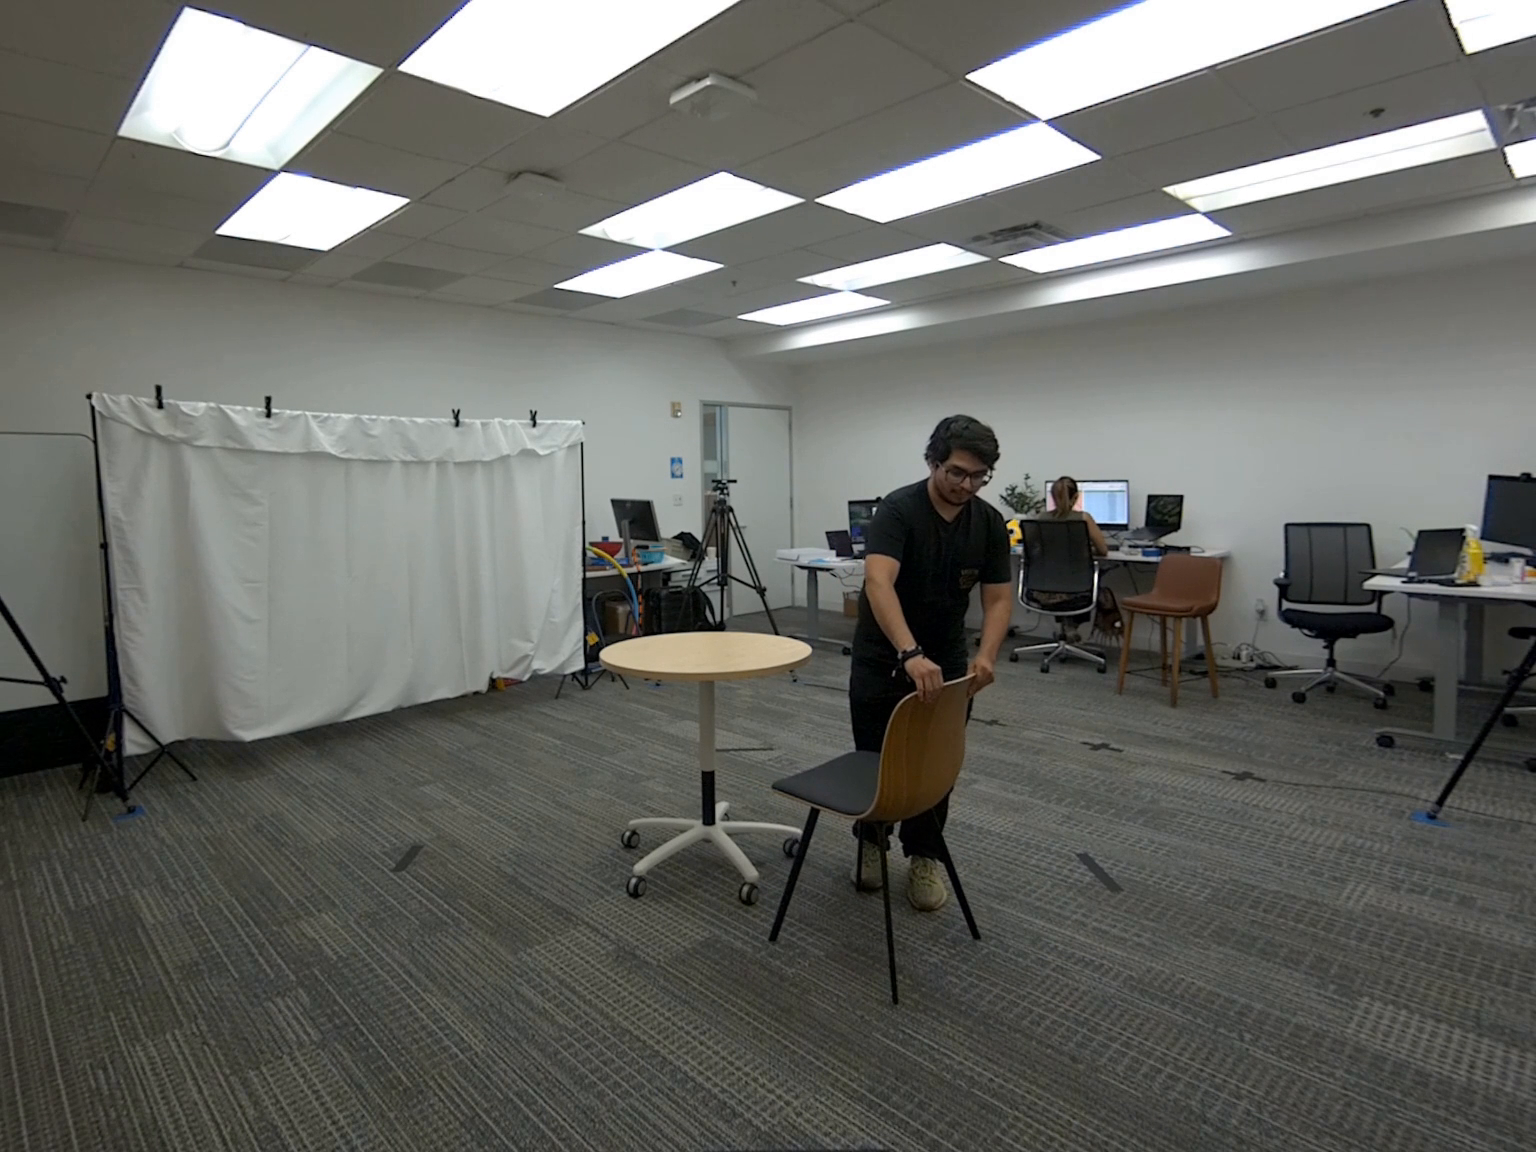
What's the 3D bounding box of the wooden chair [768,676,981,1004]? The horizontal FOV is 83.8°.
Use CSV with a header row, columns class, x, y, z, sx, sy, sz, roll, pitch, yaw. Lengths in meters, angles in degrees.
class,x,y,z,sx,sy,sz,roll,pitch,yaw
wooden chair,0.313,0.675,2.544,0.540,0.871,0.465,10,11,43
